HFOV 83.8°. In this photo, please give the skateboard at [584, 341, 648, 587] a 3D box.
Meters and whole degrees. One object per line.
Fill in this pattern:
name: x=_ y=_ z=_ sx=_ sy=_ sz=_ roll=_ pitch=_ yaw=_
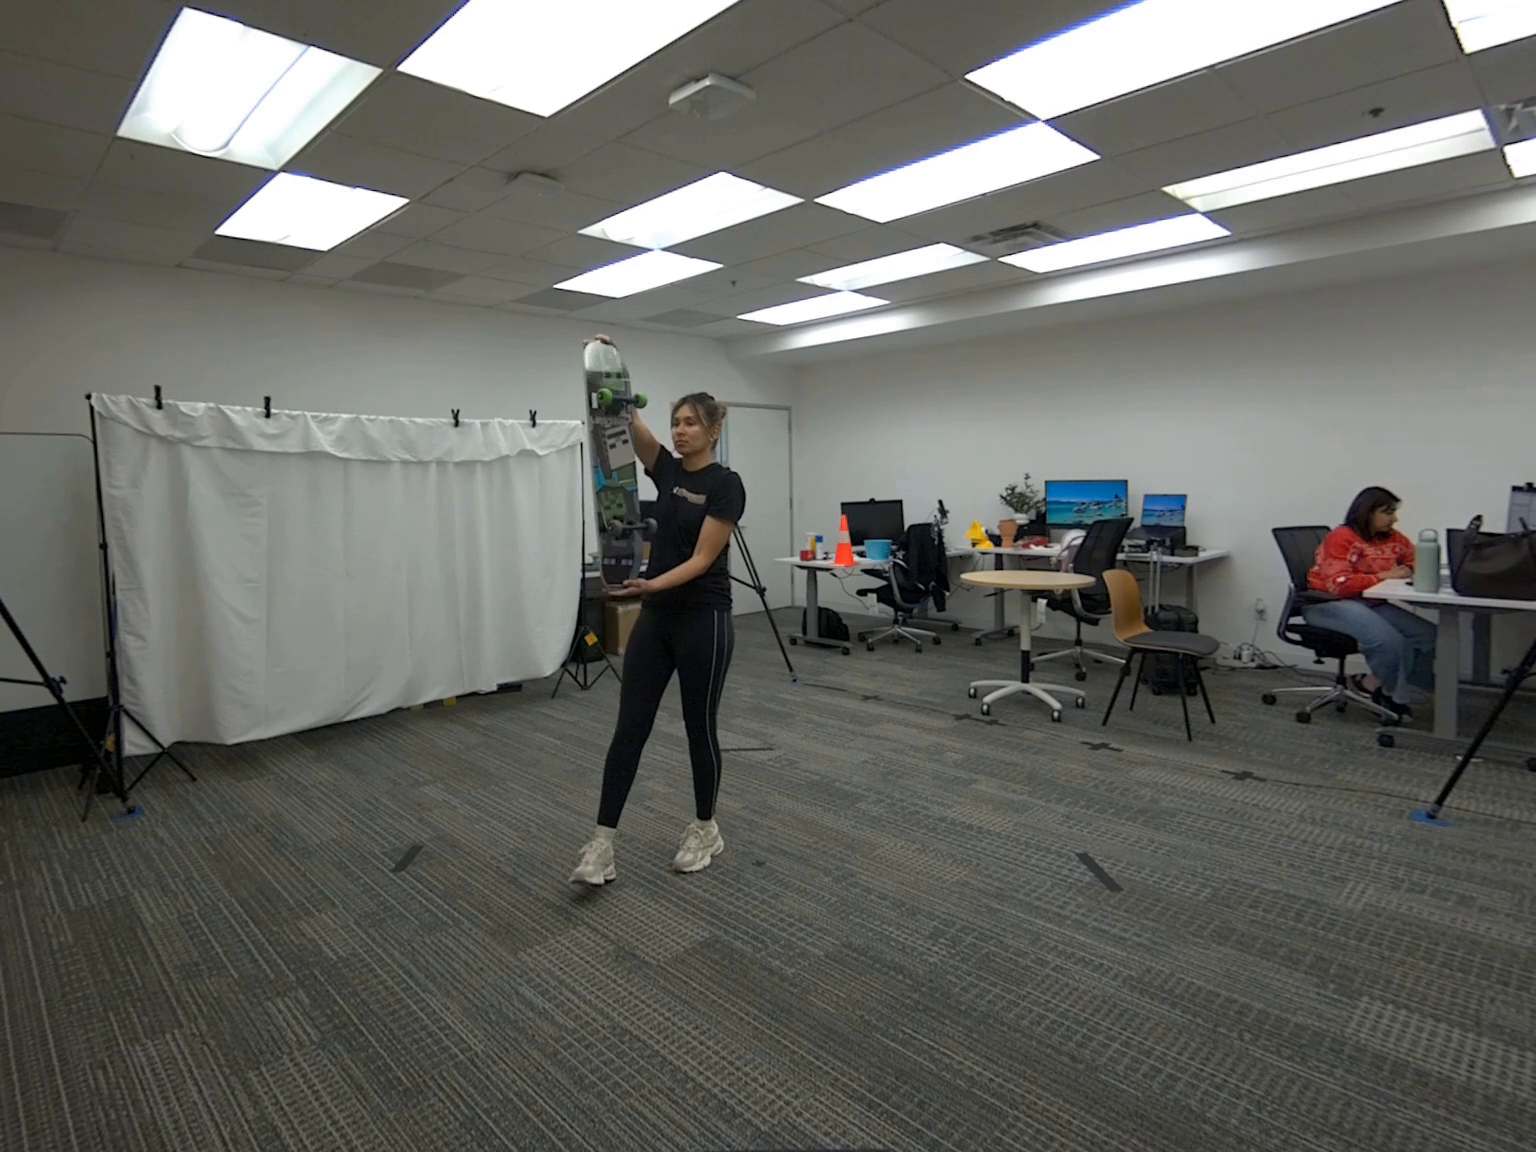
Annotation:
skateboard: x=-0.459 y=-0.346 z=2.656 sx=0.113 sy=0.785 sz=0.188 roll=-4 pitch=0 yaw=37
